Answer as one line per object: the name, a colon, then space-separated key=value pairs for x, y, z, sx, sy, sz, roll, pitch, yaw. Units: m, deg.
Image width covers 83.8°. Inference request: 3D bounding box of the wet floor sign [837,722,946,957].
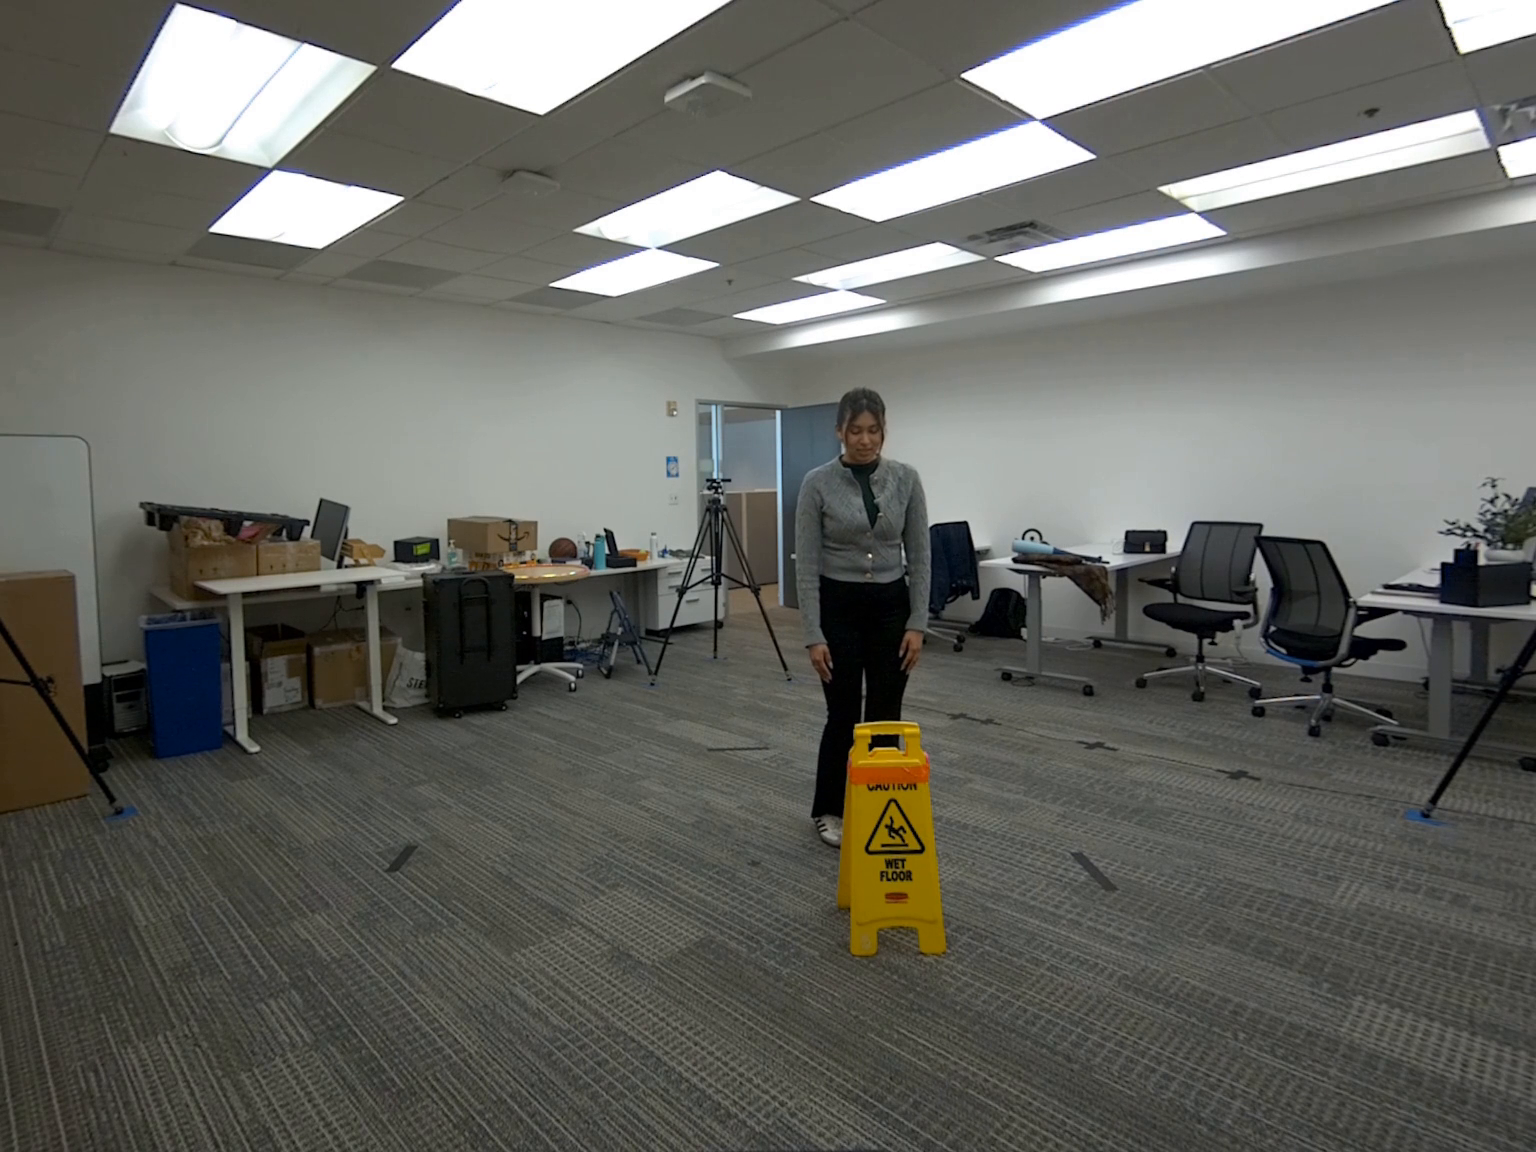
wet floor sign: x=0.360 y=0.770 z=2.614 sx=0.282 sy=0.643 sz=0.292 roll=-3 pitch=5 yaw=-2
